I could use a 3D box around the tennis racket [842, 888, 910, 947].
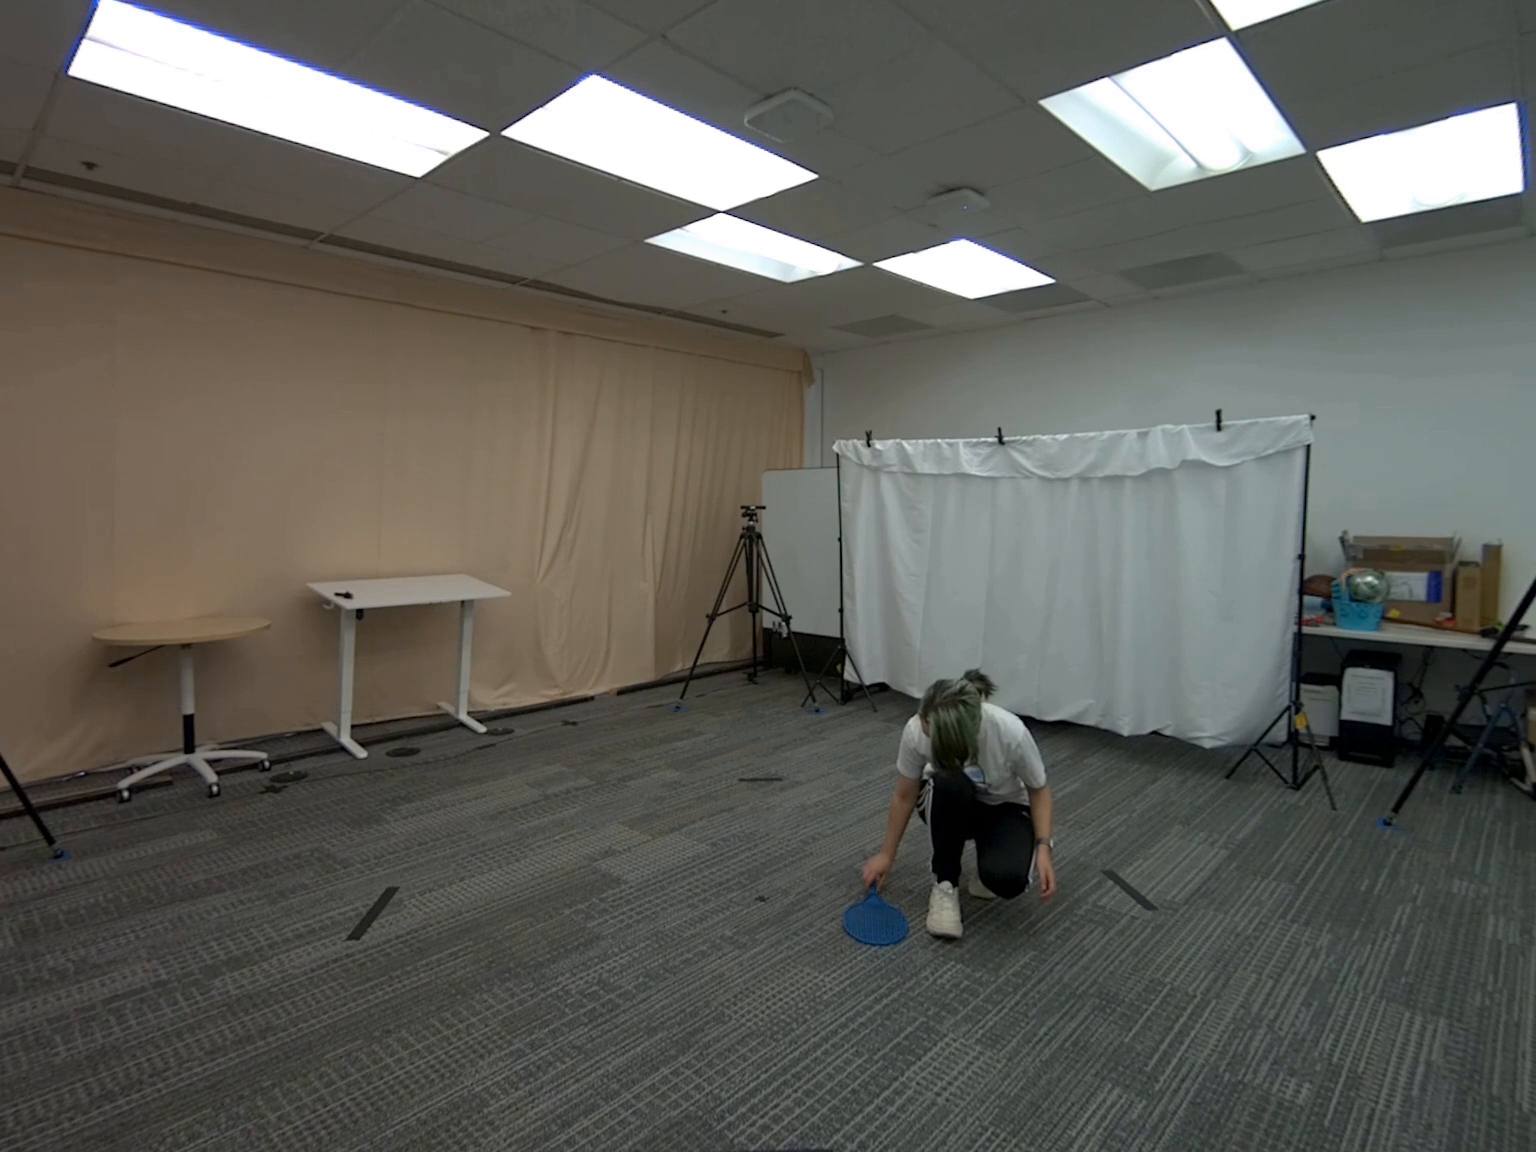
[{"bbox_3d":[0.370,1.145,2.870,0.215,0.031,0.431,0,6,5],"label":"tennis racket"}]
